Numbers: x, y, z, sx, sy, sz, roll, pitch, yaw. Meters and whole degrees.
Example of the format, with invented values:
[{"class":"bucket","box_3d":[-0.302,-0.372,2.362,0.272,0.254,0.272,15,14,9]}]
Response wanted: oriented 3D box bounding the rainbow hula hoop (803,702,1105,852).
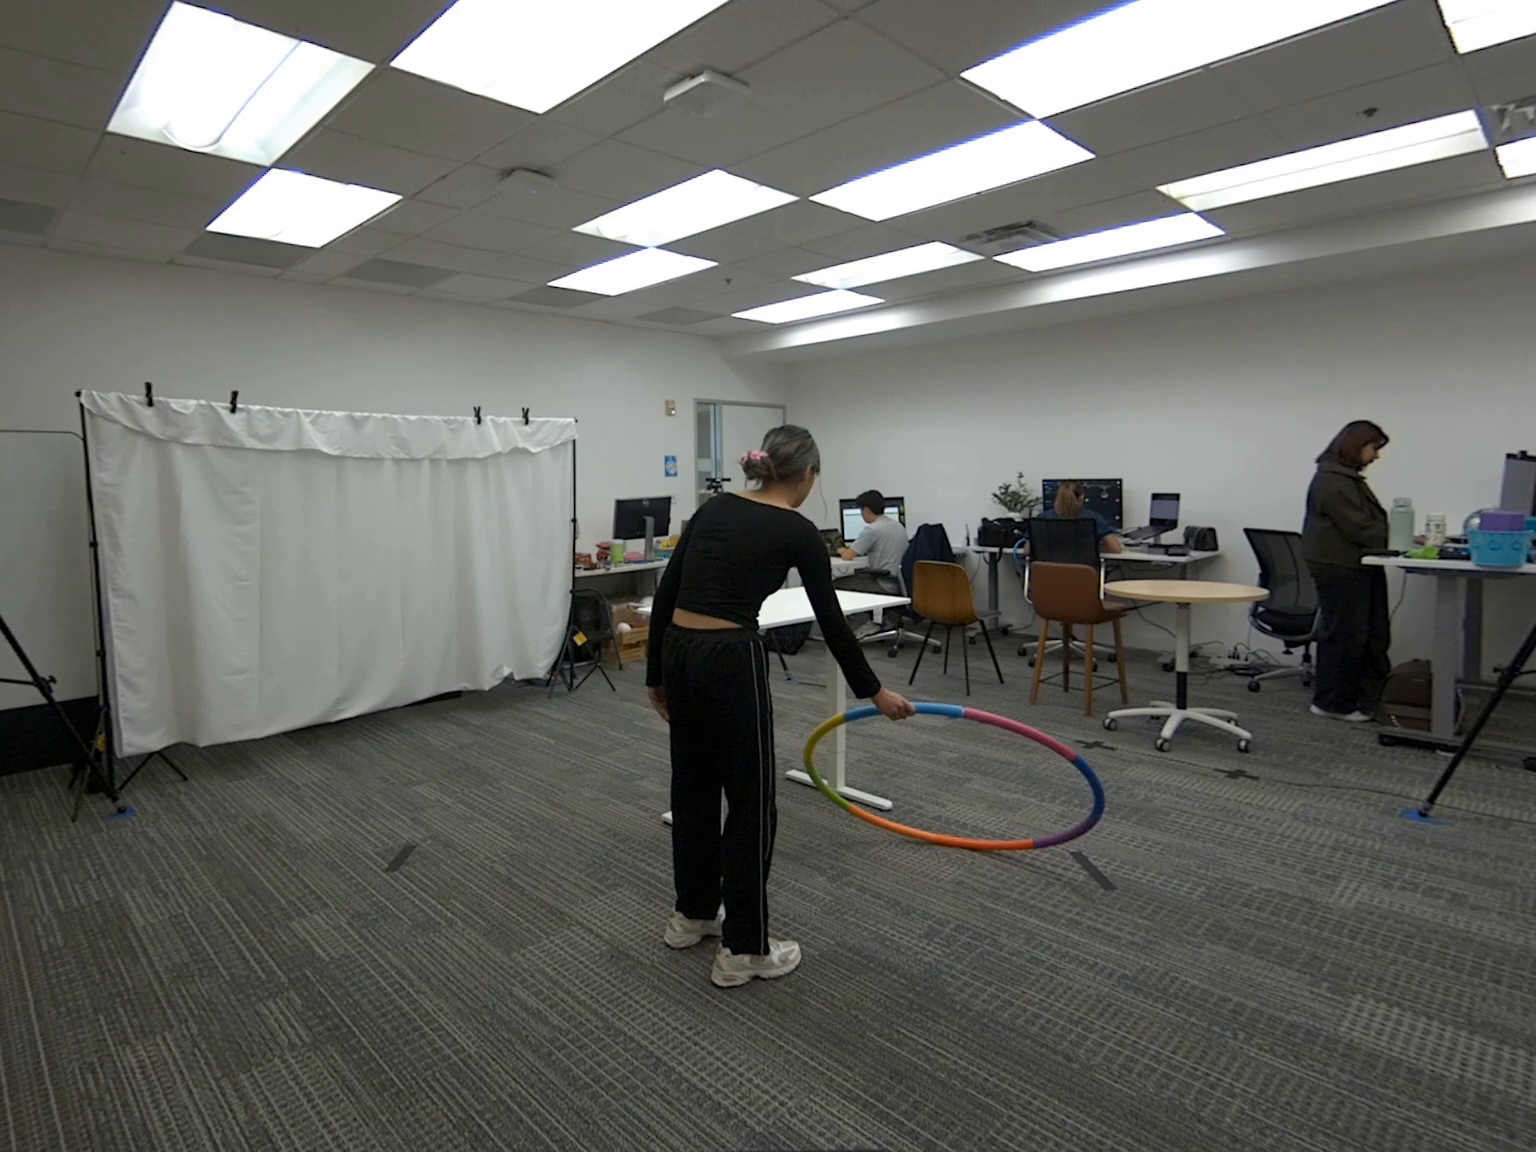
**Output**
[{"class":"rainbow hula hoop","box_3d":[0.617,0.704,2.870,0.988,0.036,0.954,13,-36,8]}]
